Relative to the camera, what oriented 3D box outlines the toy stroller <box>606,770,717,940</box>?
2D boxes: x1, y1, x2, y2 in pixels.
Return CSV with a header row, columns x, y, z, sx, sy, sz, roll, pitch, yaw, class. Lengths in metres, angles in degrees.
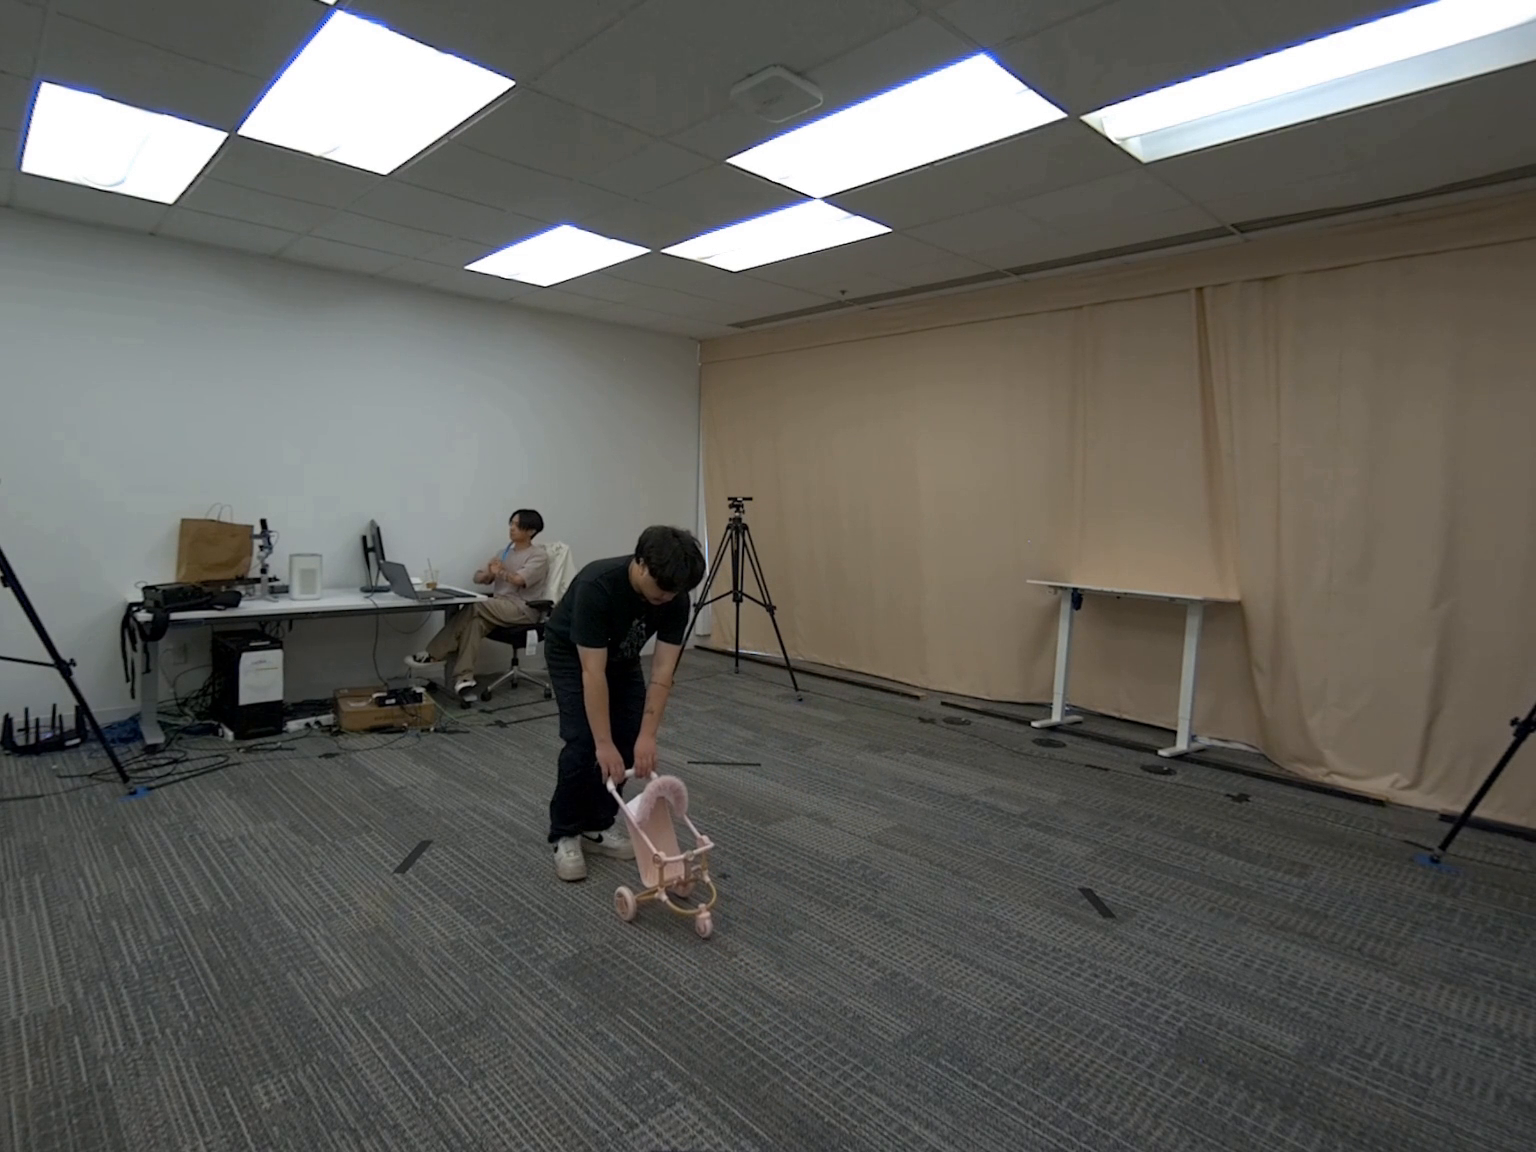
x,y,z,sx,sy,sz,roll,pitch,yaw,class
-0.342,0.905,2.791,0.275,0.539,0.346,-2,-12,-41,toy stroller
